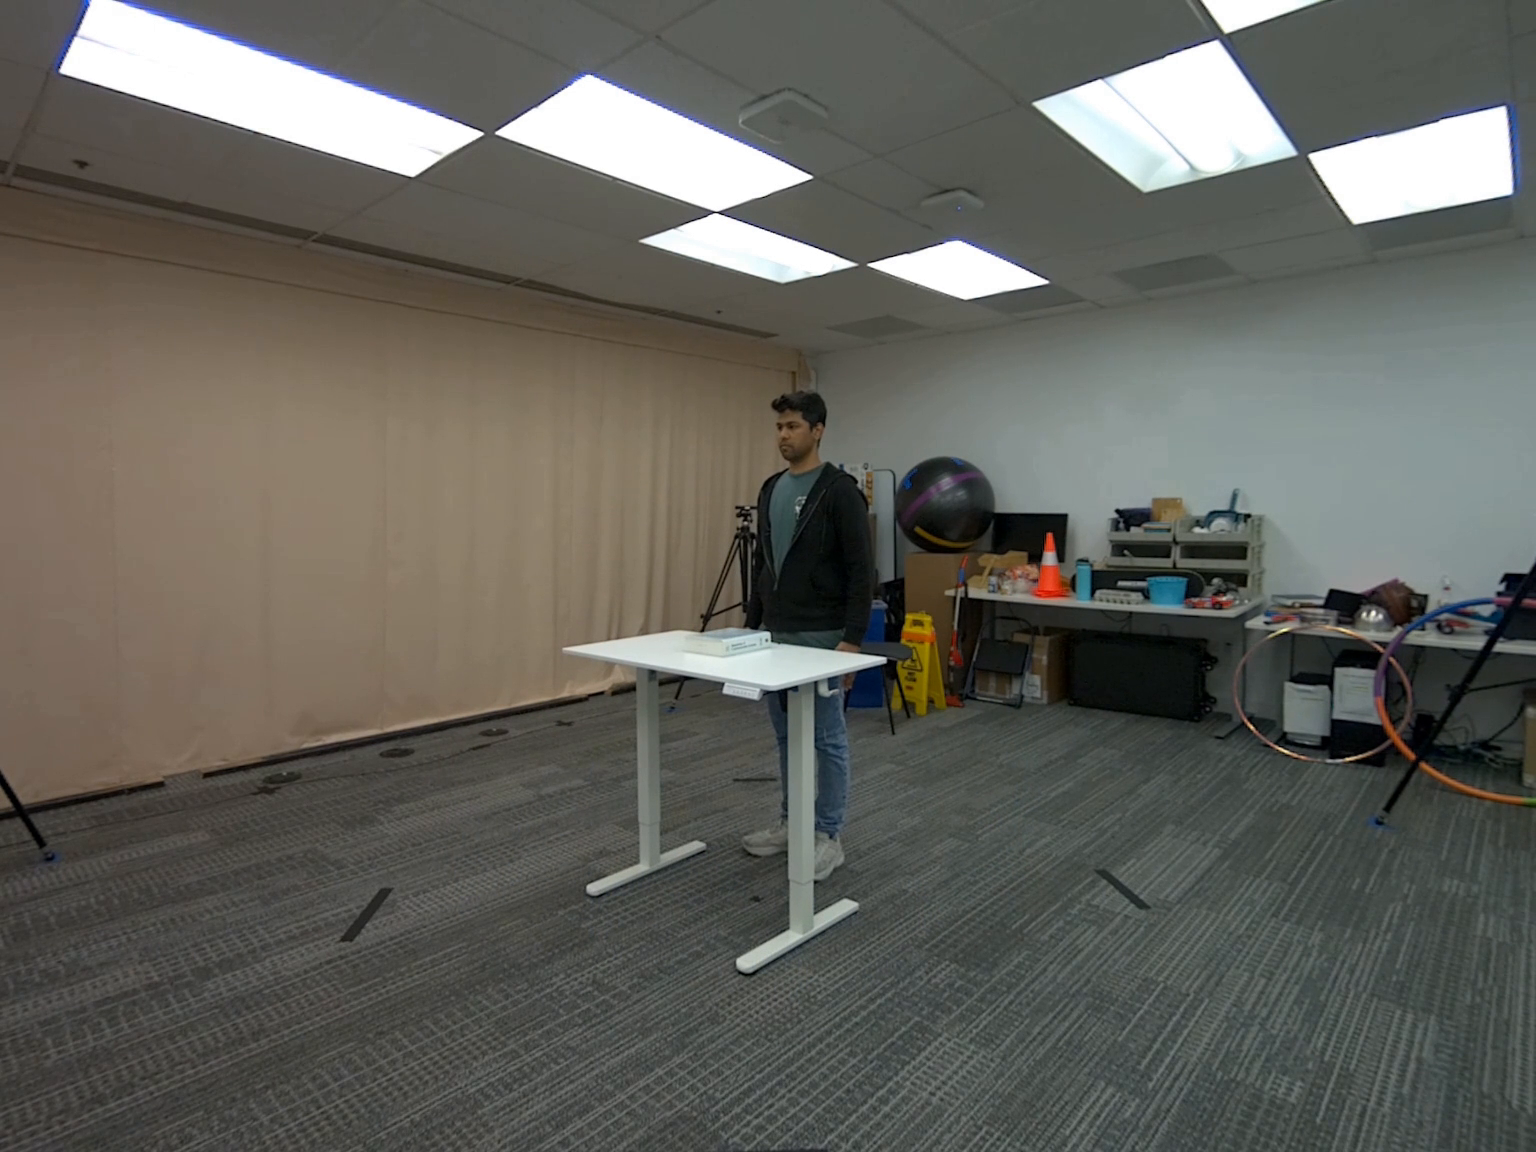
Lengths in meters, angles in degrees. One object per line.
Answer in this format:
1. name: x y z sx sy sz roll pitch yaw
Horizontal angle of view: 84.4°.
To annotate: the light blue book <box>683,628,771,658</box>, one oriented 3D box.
1. light blue book: -0.161 0.237 2.983 0.270 0.059 0.185 5 7 40
